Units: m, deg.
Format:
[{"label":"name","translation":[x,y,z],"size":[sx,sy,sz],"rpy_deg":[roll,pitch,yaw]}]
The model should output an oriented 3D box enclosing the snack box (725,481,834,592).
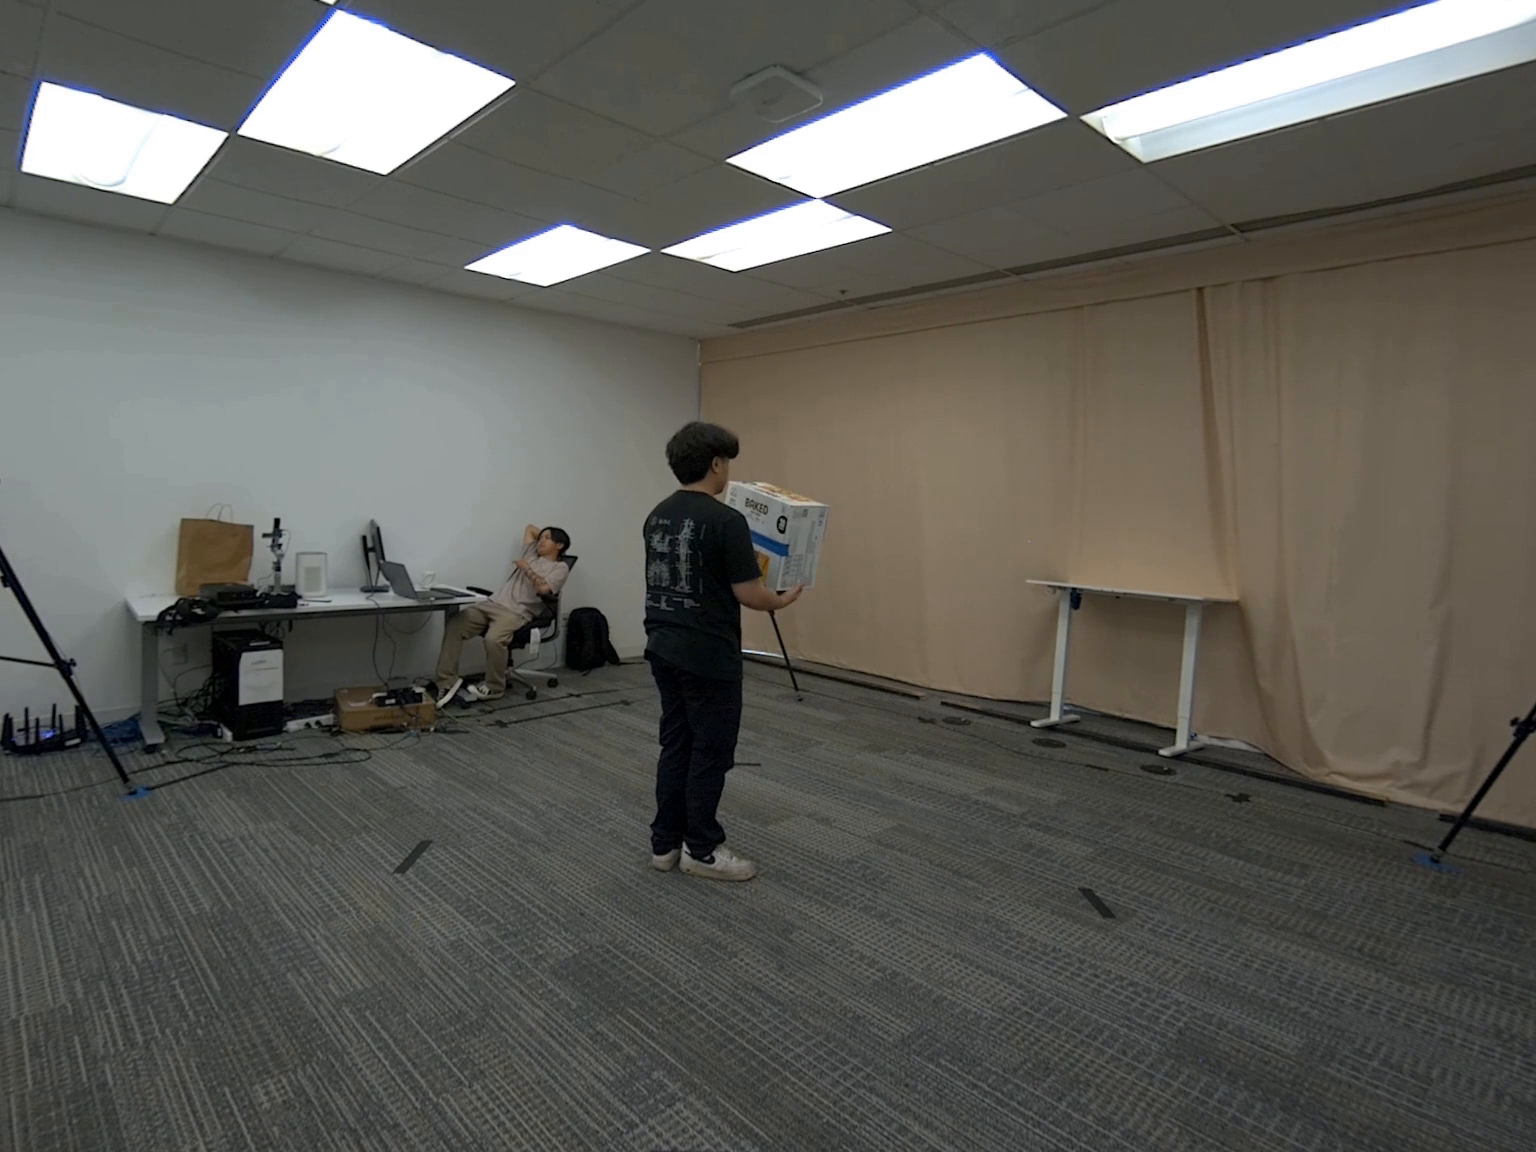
[{"label":"snack box","translation":[0.015,-0.165,3.381],"size":[0.201,0.337,0.418],"rpy_deg":[-1,18,-39]}]
